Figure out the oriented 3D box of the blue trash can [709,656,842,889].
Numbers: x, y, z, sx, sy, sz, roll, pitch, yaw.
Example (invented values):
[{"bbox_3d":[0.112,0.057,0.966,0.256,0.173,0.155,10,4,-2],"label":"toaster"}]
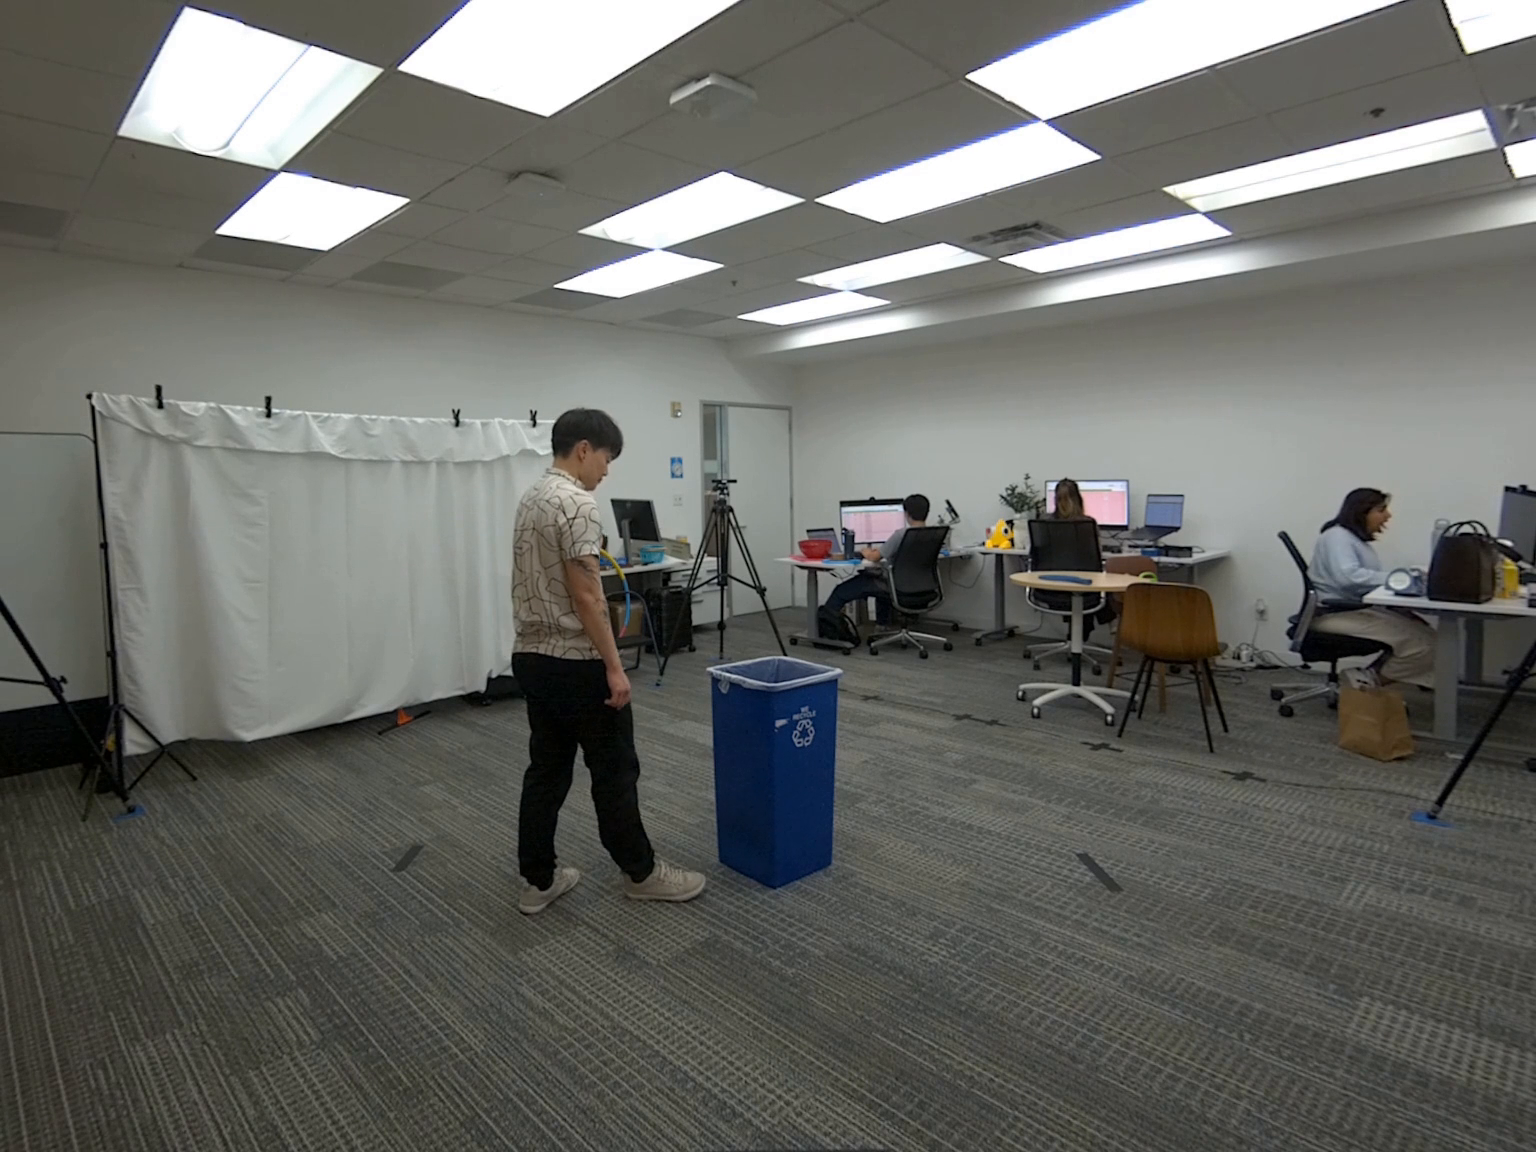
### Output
[{"bbox_3d":[0.035,0.689,3.094,0.368,0.712,0.385,-4,4,-42],"label":"blue trash can"}]
